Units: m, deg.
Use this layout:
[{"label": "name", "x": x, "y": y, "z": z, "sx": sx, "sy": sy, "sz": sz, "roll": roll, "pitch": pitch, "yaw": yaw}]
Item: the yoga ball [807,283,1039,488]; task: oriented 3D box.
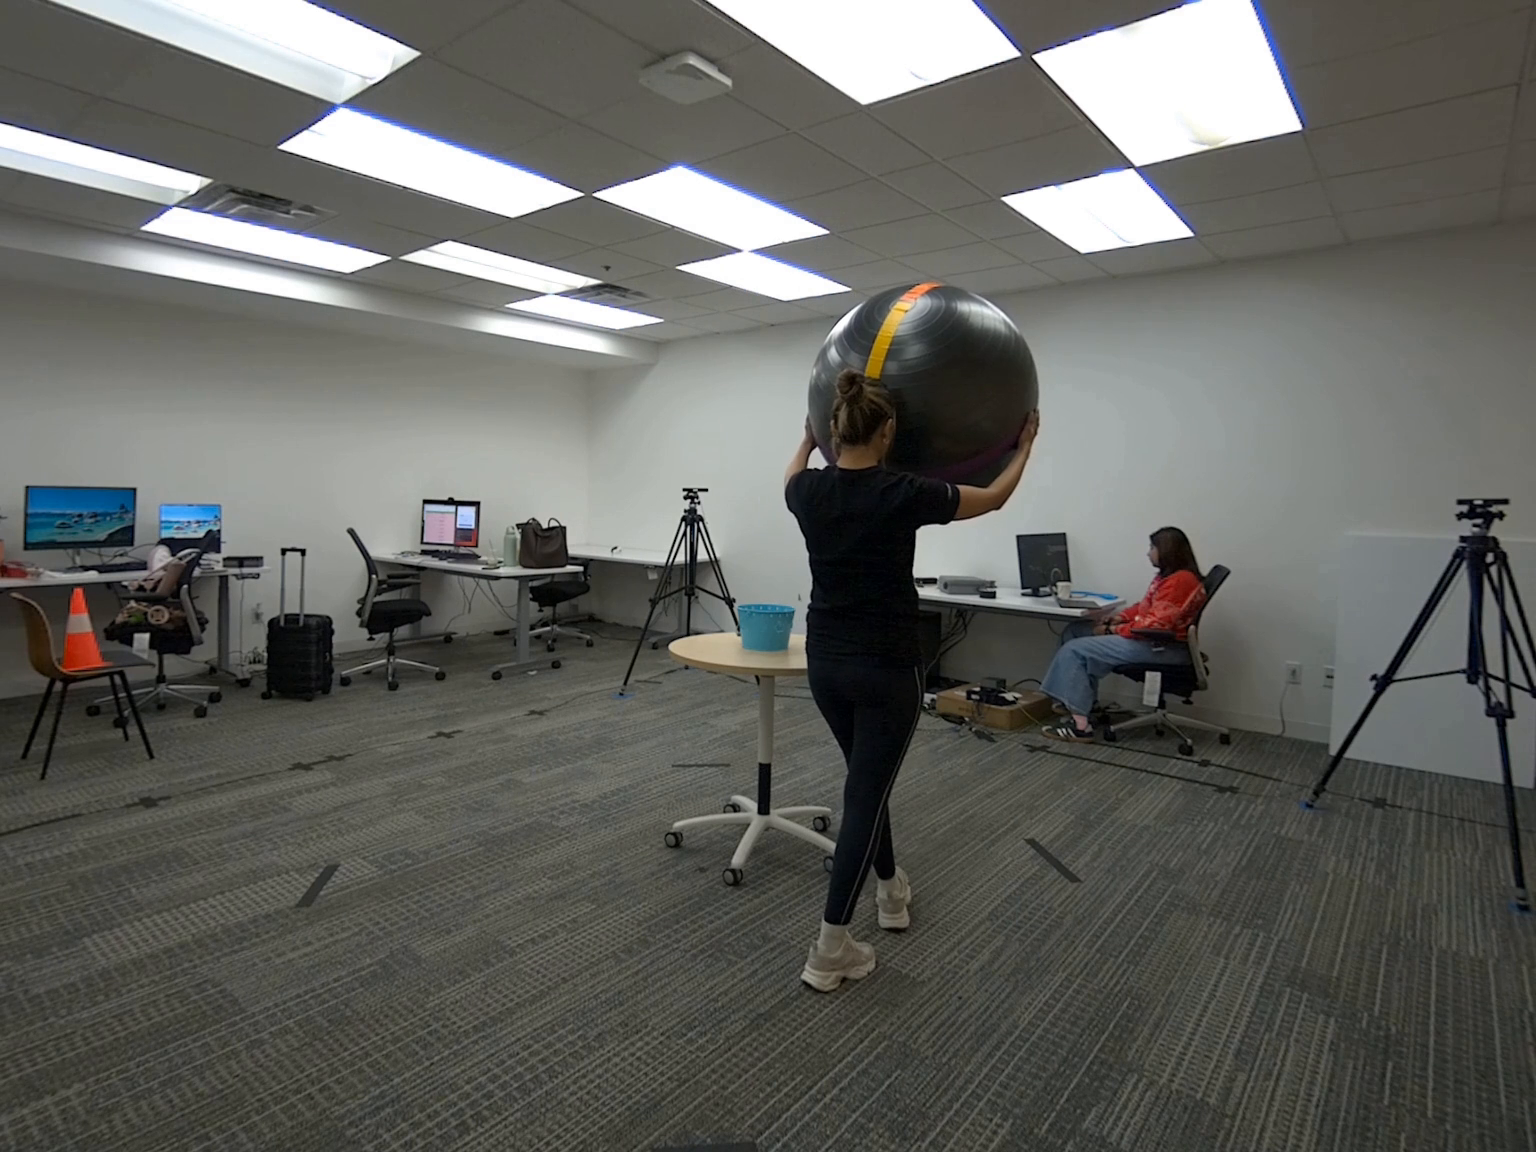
[{"label": "yoga ball", "x": 0.516, "y": -0.601, "z": 2.885, "sx": 0.757, "sy": 0.756, "sz": 0.762, "roll": 1, "pitch": 4, "yaw": -2}]
